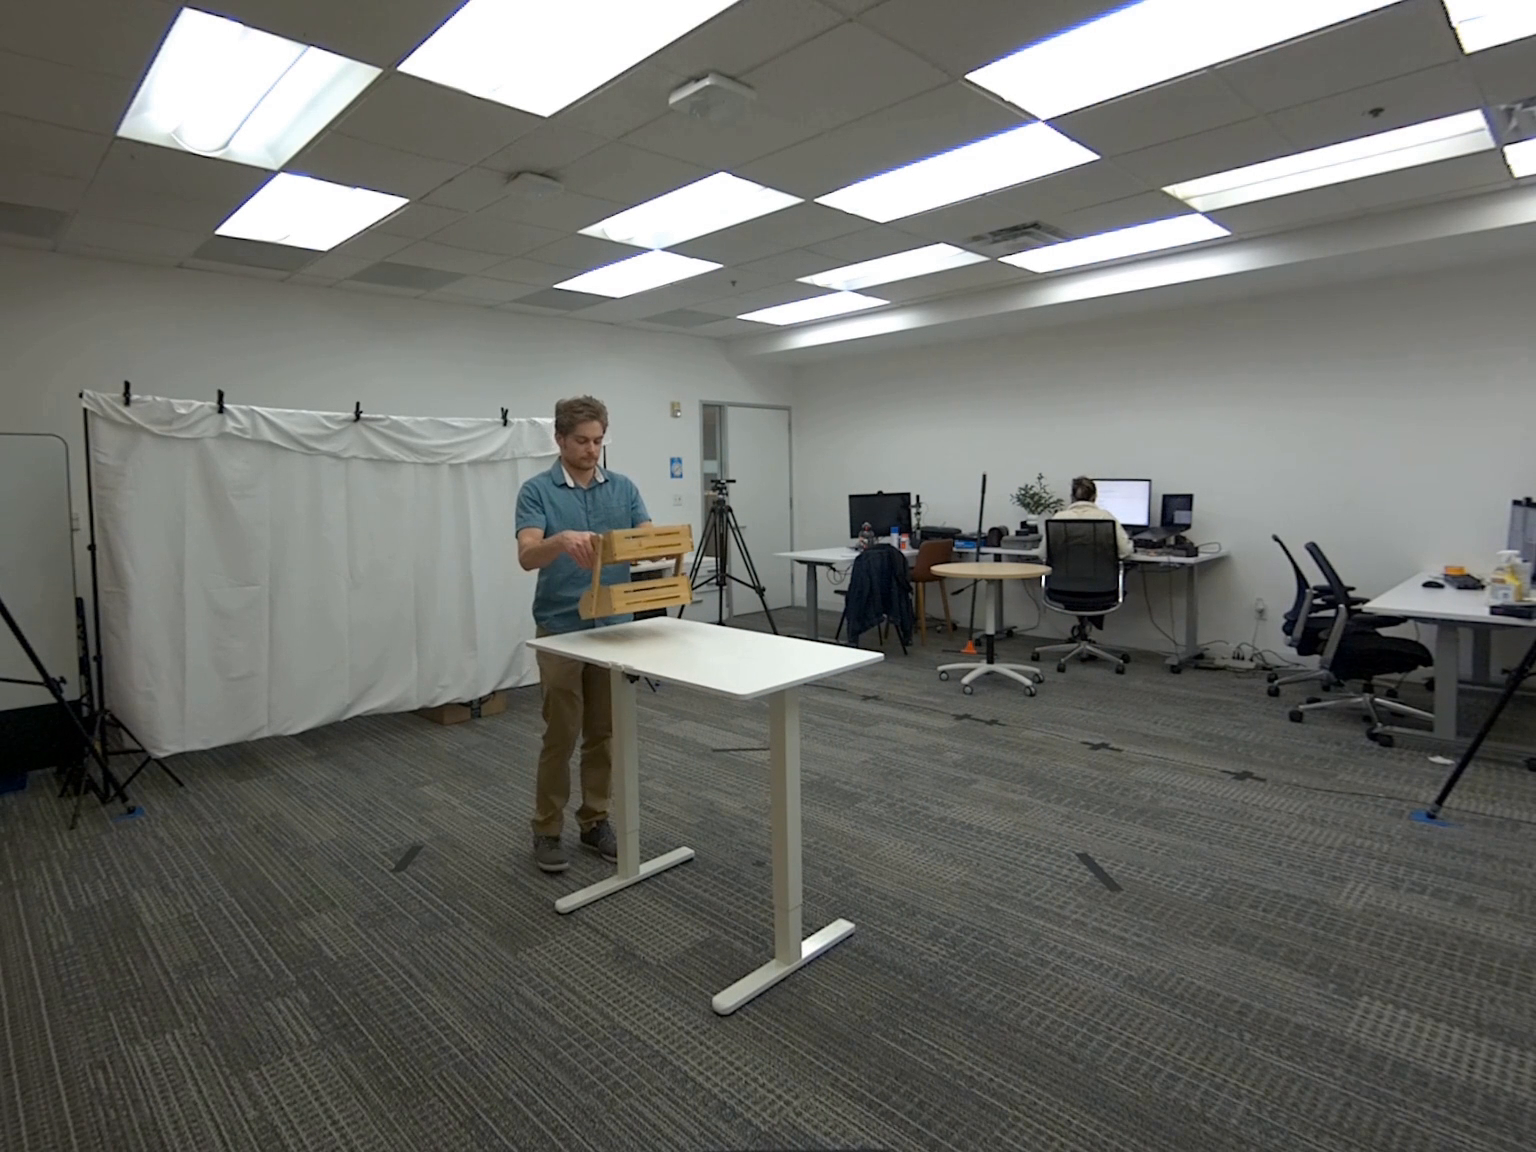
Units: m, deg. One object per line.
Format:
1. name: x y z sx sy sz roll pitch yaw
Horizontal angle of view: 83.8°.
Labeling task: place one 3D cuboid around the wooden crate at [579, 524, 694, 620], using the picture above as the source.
1. wooden crate: -0.447 -0.015 2.842 0.316 0.274 0.309 -7 -2 -37
